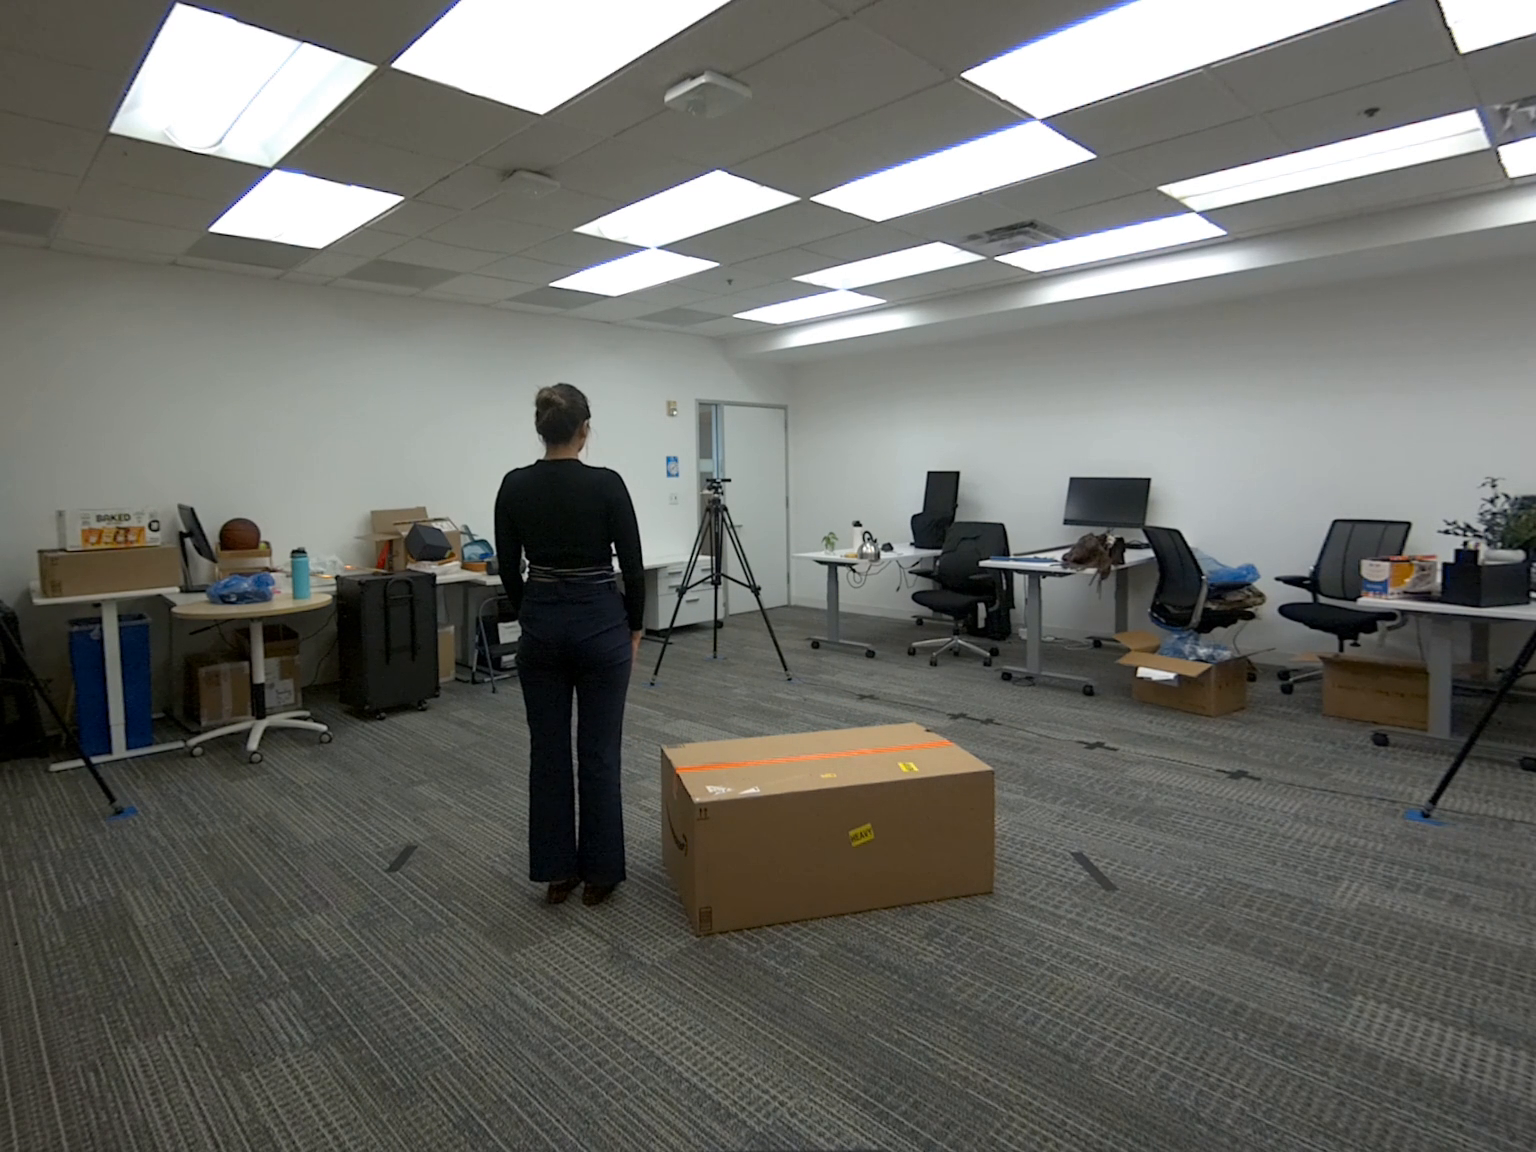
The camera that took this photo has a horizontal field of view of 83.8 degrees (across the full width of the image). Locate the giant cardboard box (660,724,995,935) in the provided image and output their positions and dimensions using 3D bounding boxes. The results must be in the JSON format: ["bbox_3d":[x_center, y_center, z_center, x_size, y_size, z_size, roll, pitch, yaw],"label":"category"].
[{"bbox_3d":[0.179,0.834,2.995,1.012,0.424,0.588,-3,7,-15],"label":"giant cardboard box"}]
